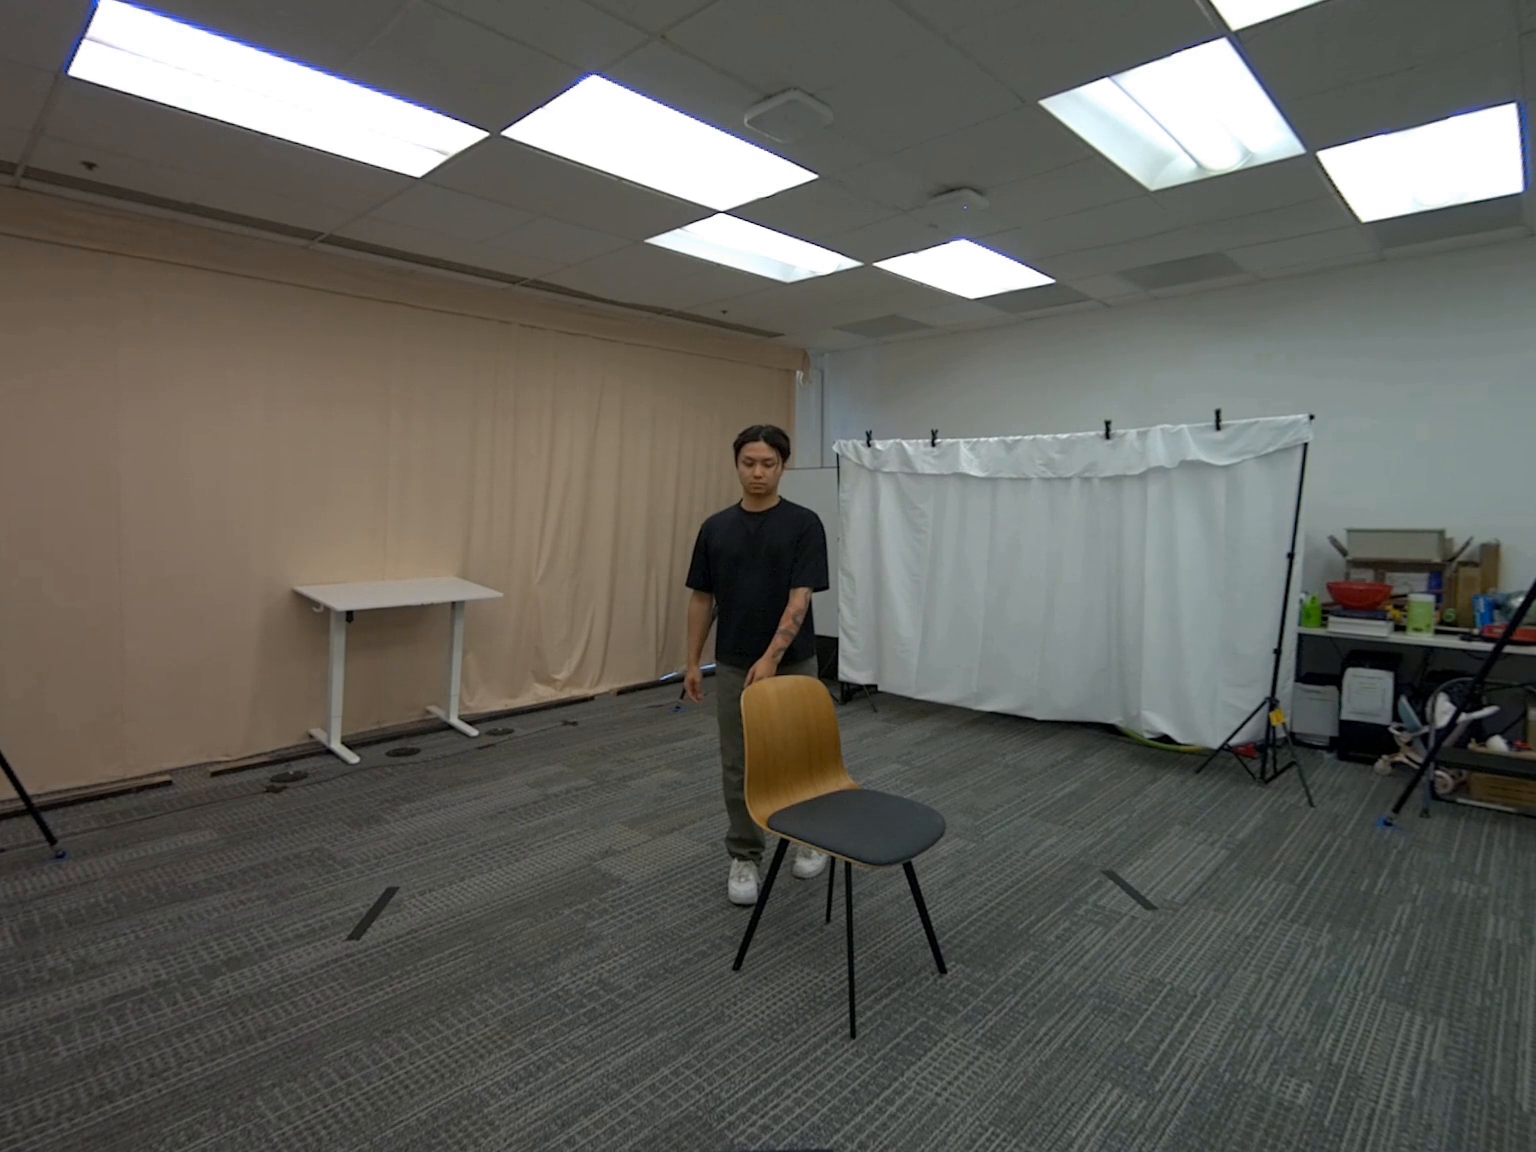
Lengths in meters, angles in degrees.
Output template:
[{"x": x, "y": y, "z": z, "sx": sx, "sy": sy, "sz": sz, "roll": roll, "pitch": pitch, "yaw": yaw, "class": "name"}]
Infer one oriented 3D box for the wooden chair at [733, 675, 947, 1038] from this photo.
[{"x": 0.225, "y": 0.758, "z": 2.475, "sx": 0.539, "sy": 0.877, "sz": 0.463, "roll": -3, "pitch": 0, "yaw": 44, "class": "wooden chair"}]
